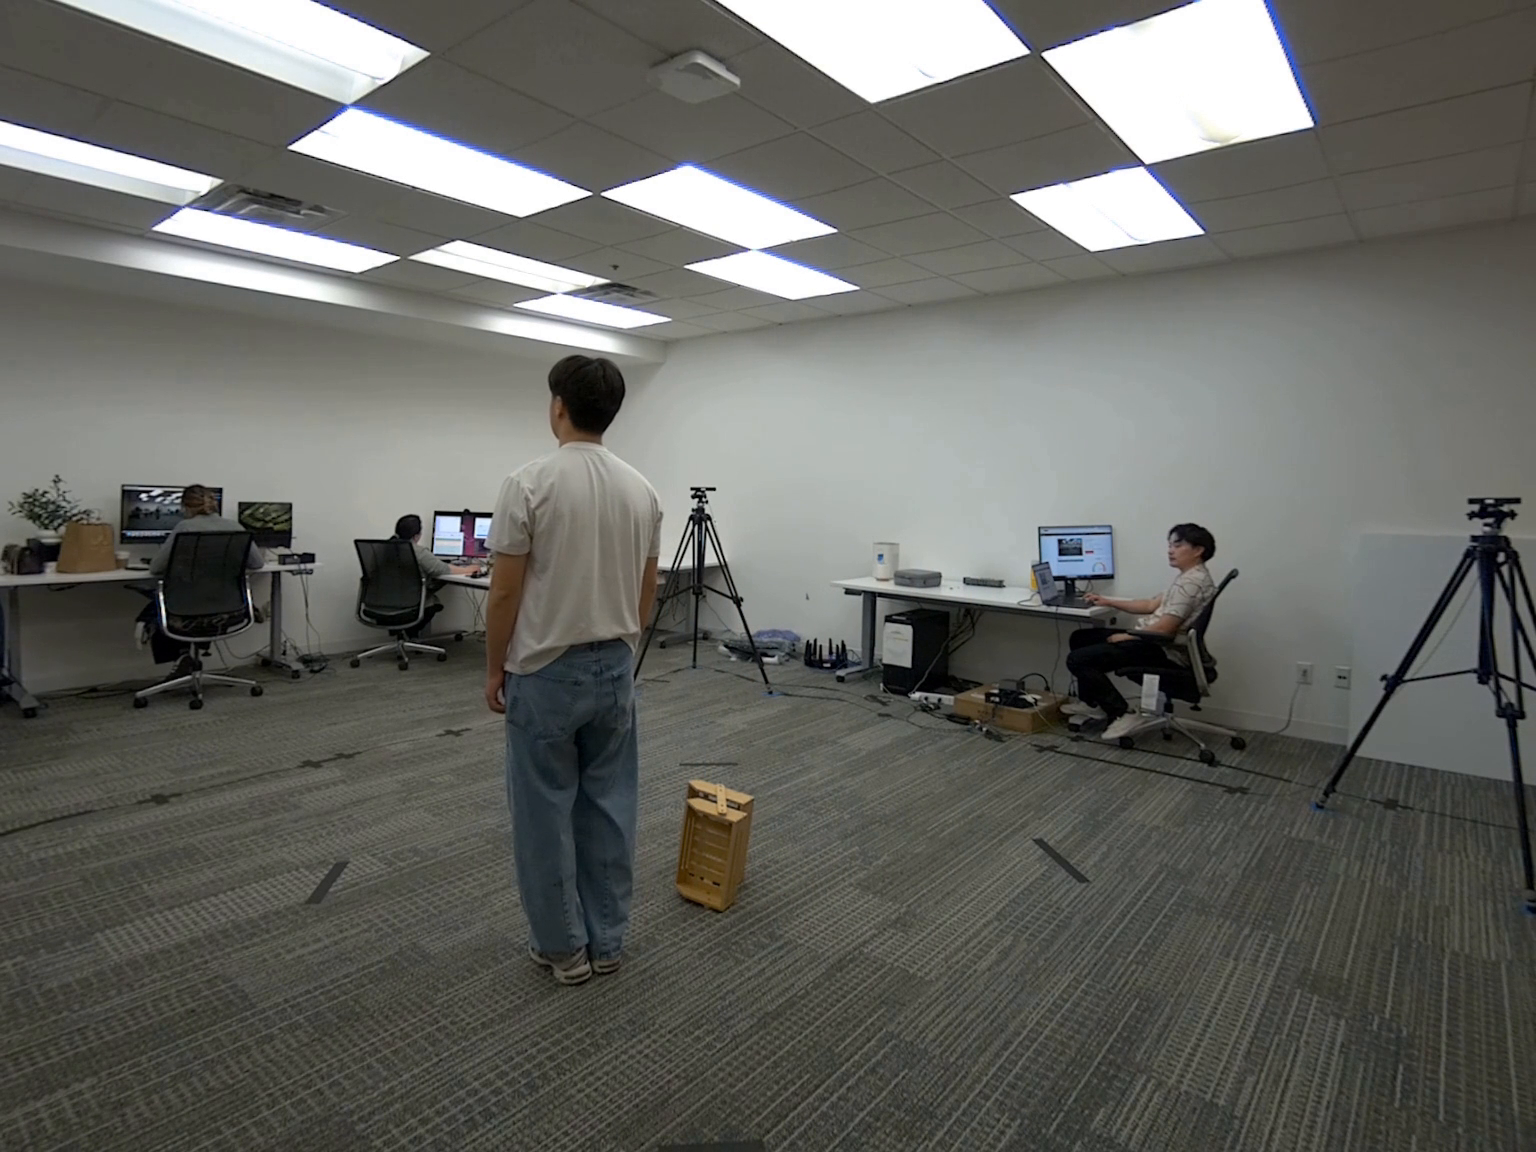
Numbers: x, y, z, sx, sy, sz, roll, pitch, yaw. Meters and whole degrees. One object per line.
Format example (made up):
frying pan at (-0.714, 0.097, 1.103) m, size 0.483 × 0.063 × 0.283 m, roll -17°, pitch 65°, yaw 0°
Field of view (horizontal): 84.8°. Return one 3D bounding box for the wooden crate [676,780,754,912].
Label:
wooden crate at (-0.219, 0.914, 2.943) m, size 0.311 × 0.324 × 0.266 m, roll 9°, pitch 4°, yaw 26°
